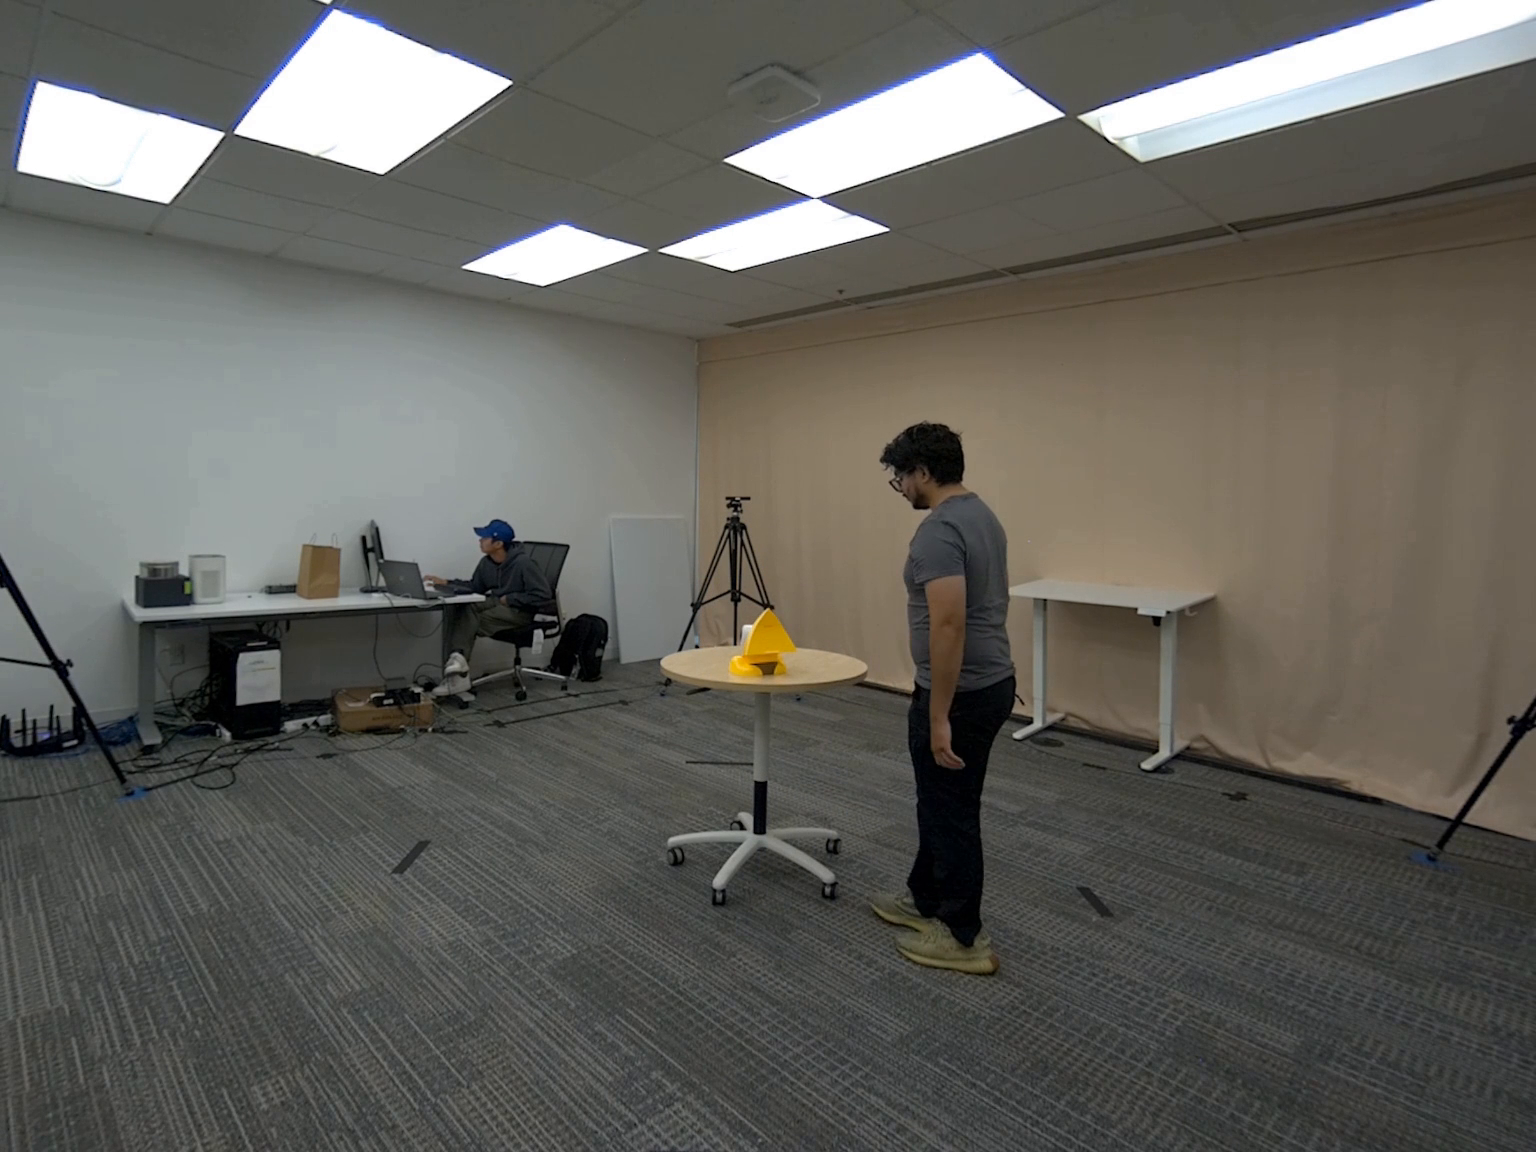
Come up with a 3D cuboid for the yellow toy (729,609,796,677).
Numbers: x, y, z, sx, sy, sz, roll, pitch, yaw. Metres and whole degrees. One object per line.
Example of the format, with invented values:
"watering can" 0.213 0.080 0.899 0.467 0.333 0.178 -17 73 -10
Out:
"yellow toy" -0.039 0.223 2.955 0.201 0.230 0.197 -1 4 -28
